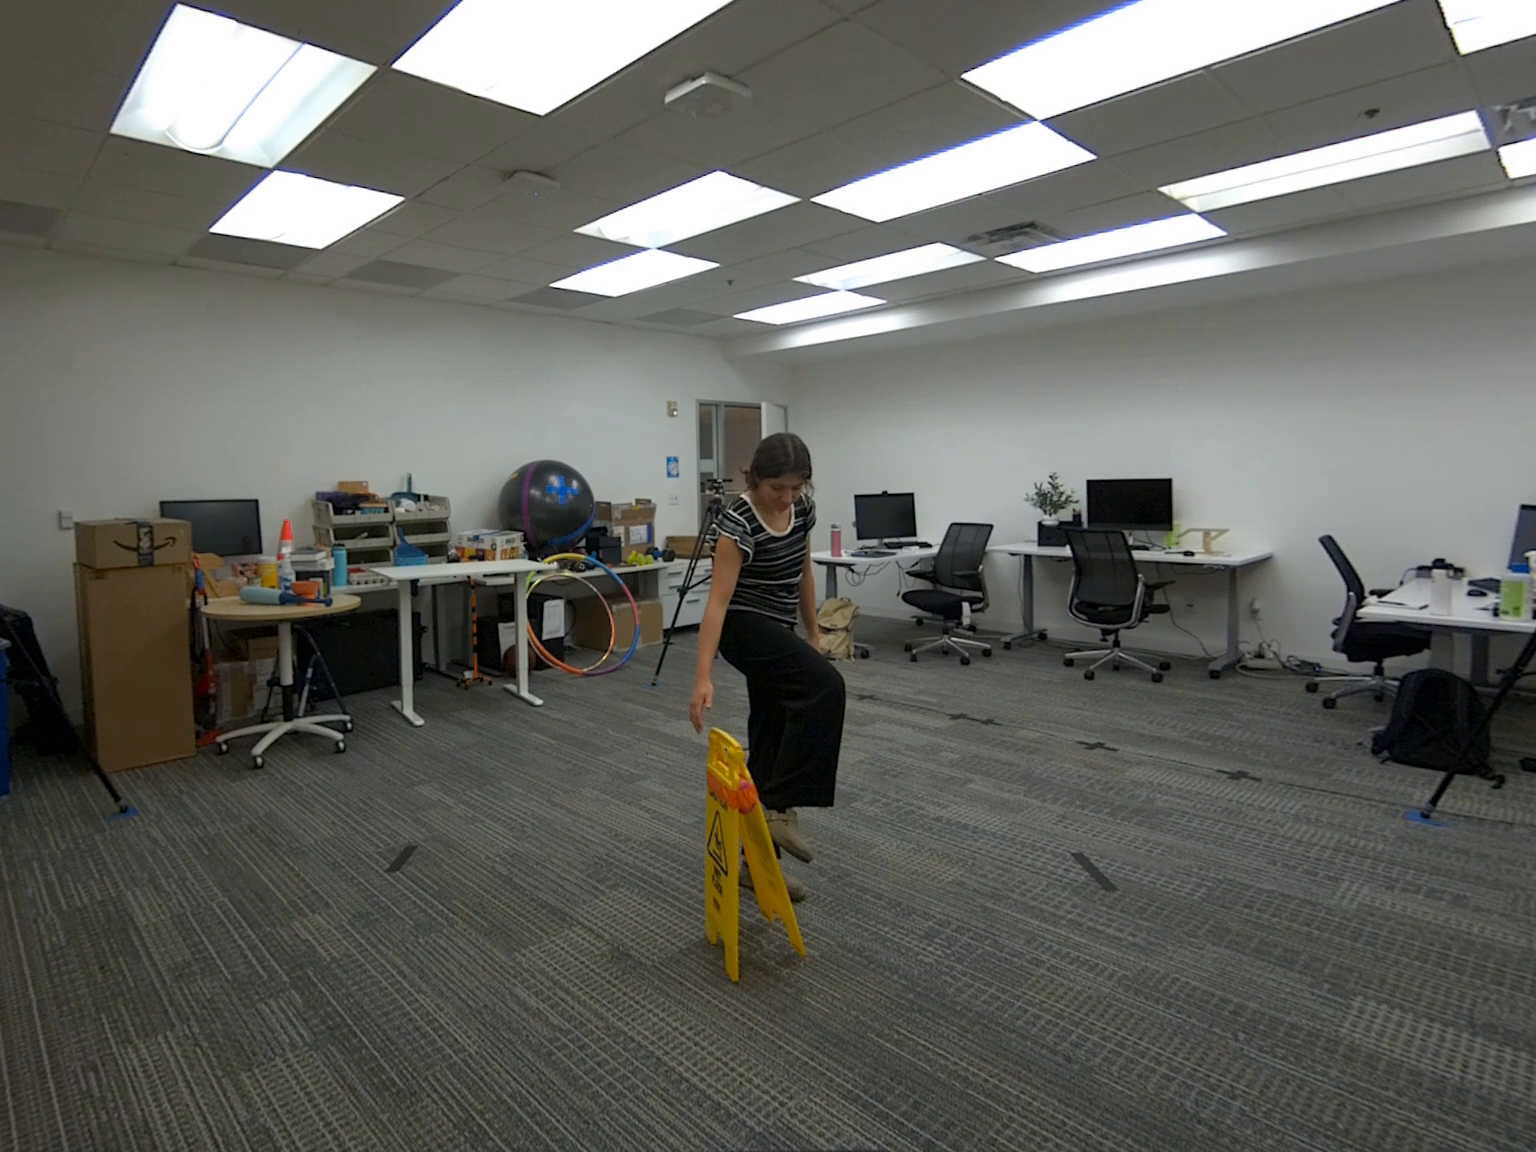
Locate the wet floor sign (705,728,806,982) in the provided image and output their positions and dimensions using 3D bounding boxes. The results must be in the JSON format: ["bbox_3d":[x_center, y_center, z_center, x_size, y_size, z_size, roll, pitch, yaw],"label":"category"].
[{"bbox_3d":[-0.083,0.778,2.504,0.285,0.641,0.288,-10,7,-19],"label":"wet floor sign"}]
